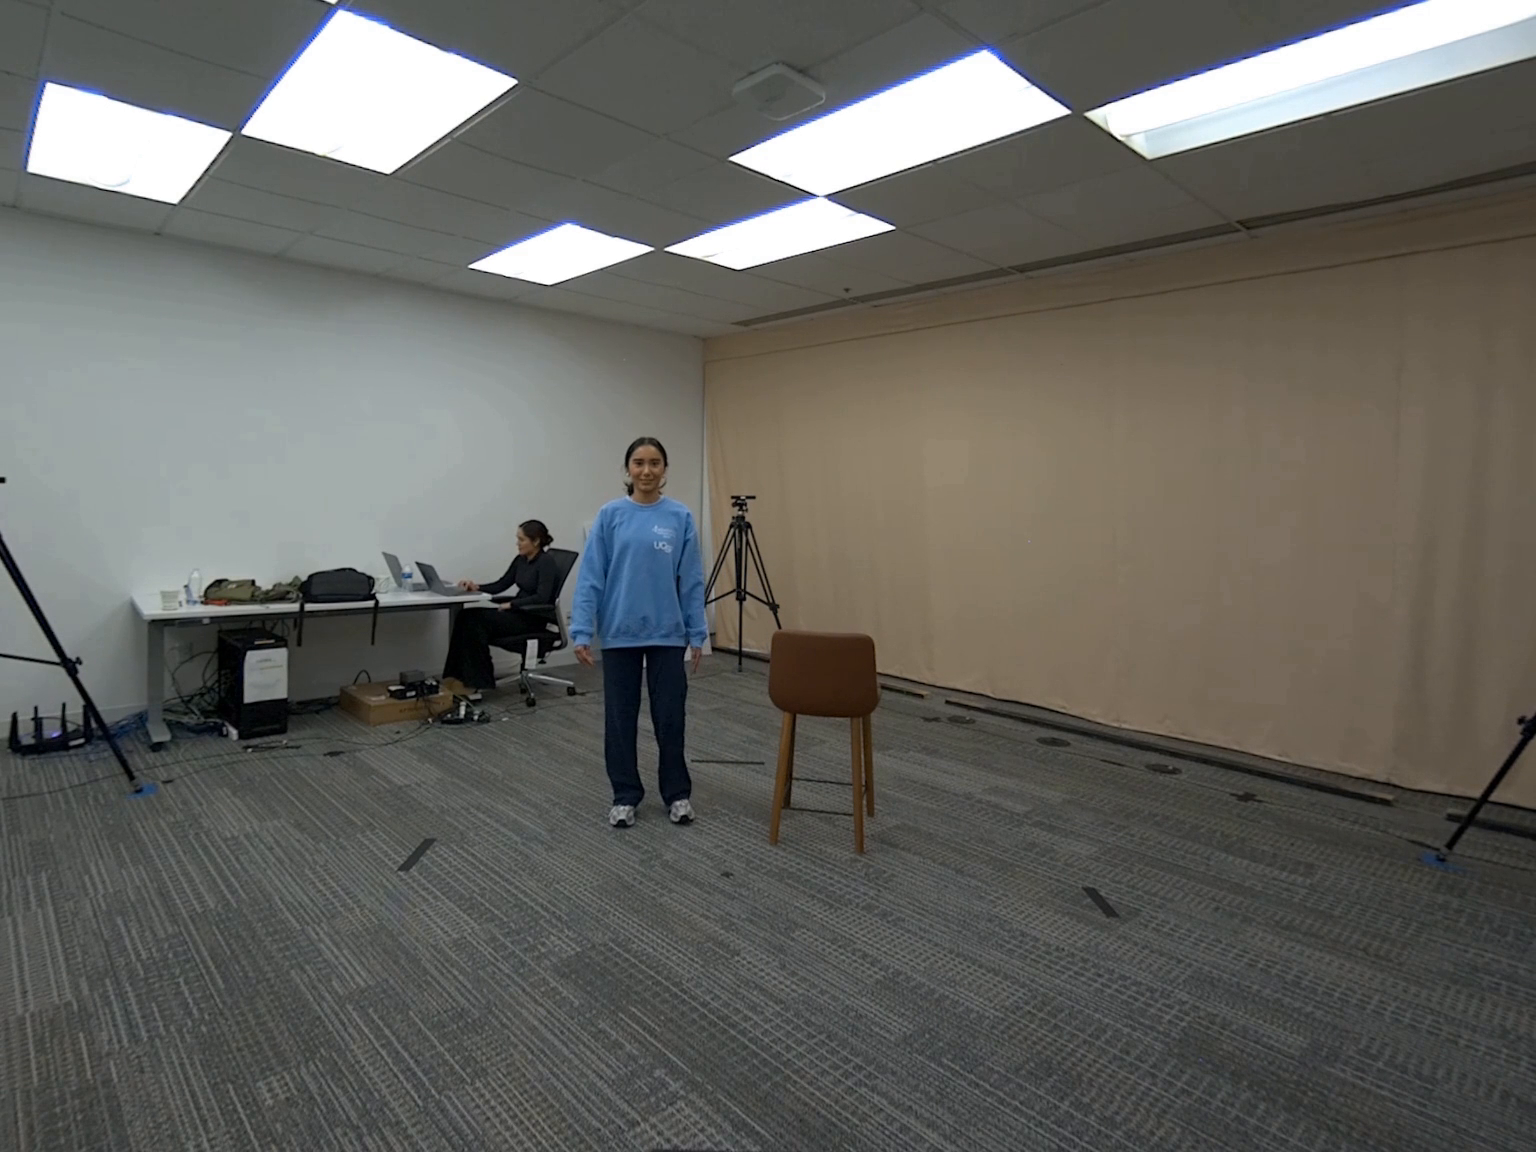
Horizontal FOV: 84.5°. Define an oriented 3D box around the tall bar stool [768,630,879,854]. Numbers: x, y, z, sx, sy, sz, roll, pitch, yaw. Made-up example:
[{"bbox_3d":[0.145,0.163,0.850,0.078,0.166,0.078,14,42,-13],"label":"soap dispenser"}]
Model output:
[{"bbox_3d":[0.235,0.640,3.539,0.462,0.887,0.464,2,4,13],"label":"tall bar stool"}]
